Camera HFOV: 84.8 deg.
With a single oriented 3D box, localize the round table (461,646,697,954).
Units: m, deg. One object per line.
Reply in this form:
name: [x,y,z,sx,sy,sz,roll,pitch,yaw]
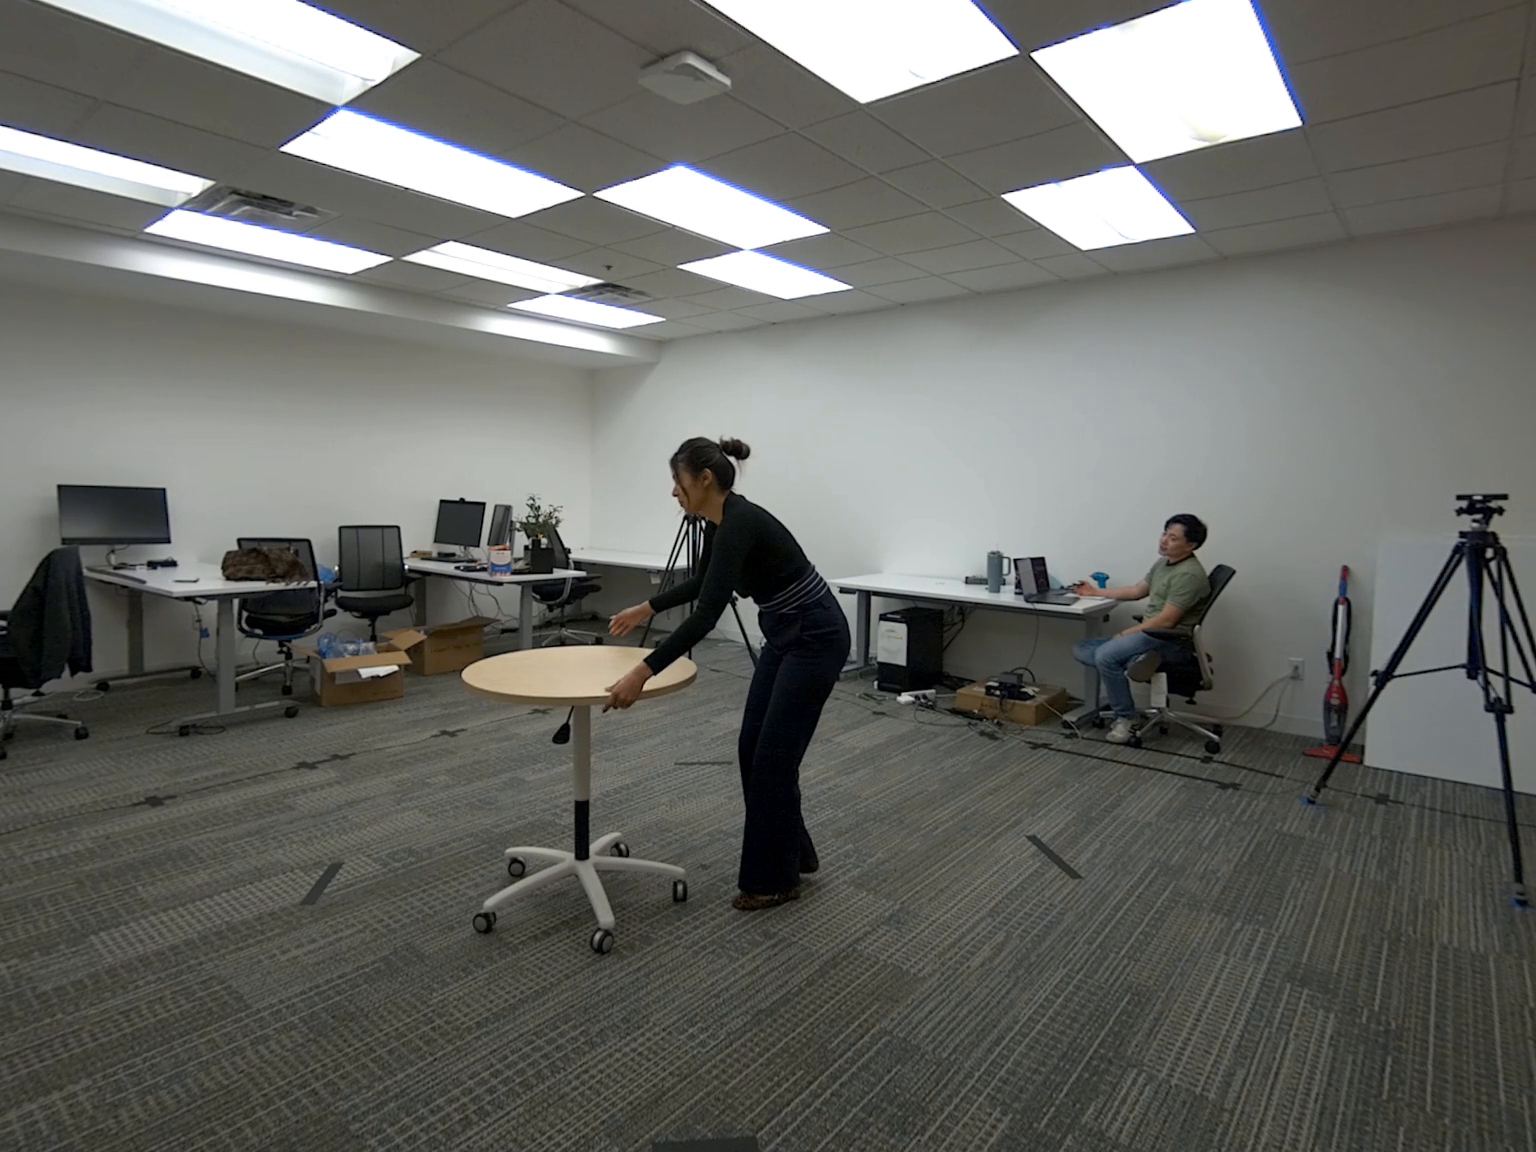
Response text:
round table: [-0.635,0.698,2.836,0.763,0.791,0.768,0,5,-2]
